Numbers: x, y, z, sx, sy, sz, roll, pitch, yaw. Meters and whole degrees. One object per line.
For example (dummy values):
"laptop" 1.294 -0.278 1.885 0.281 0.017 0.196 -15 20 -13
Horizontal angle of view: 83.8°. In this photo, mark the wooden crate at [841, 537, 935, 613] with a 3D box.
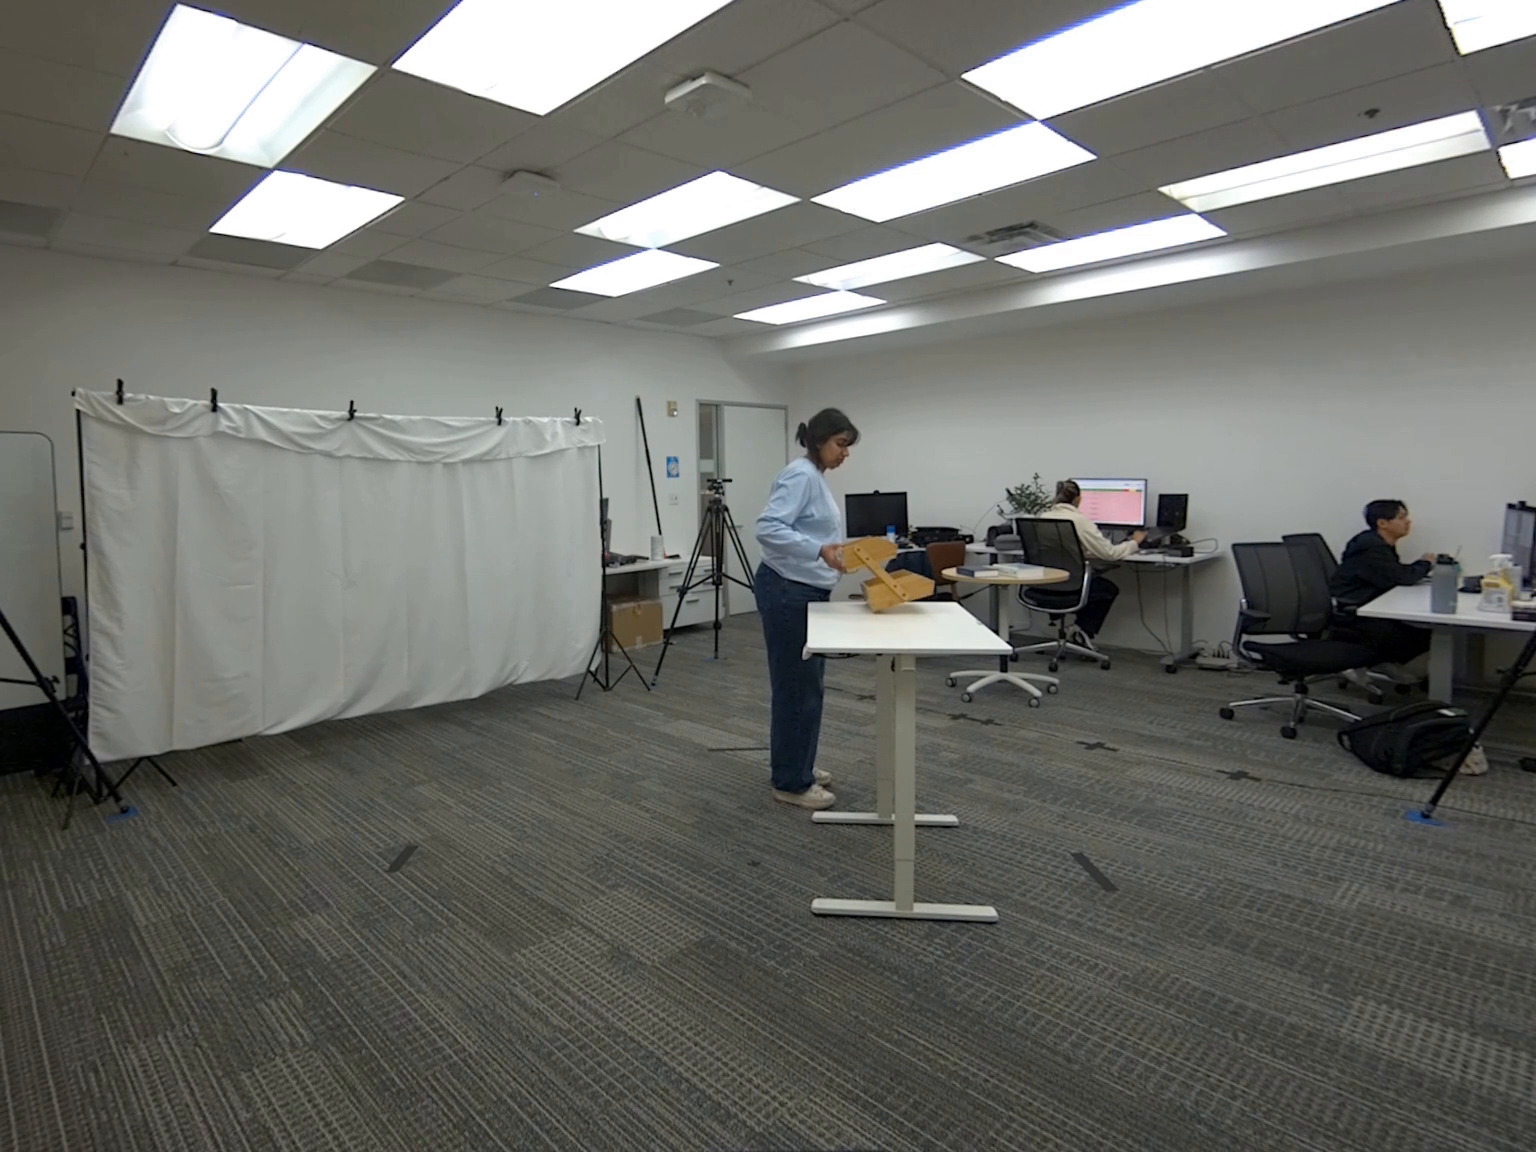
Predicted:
"wooden crate" 0.454 -0.033 3.352 0.302 0.273 0.325 -18 2 0
